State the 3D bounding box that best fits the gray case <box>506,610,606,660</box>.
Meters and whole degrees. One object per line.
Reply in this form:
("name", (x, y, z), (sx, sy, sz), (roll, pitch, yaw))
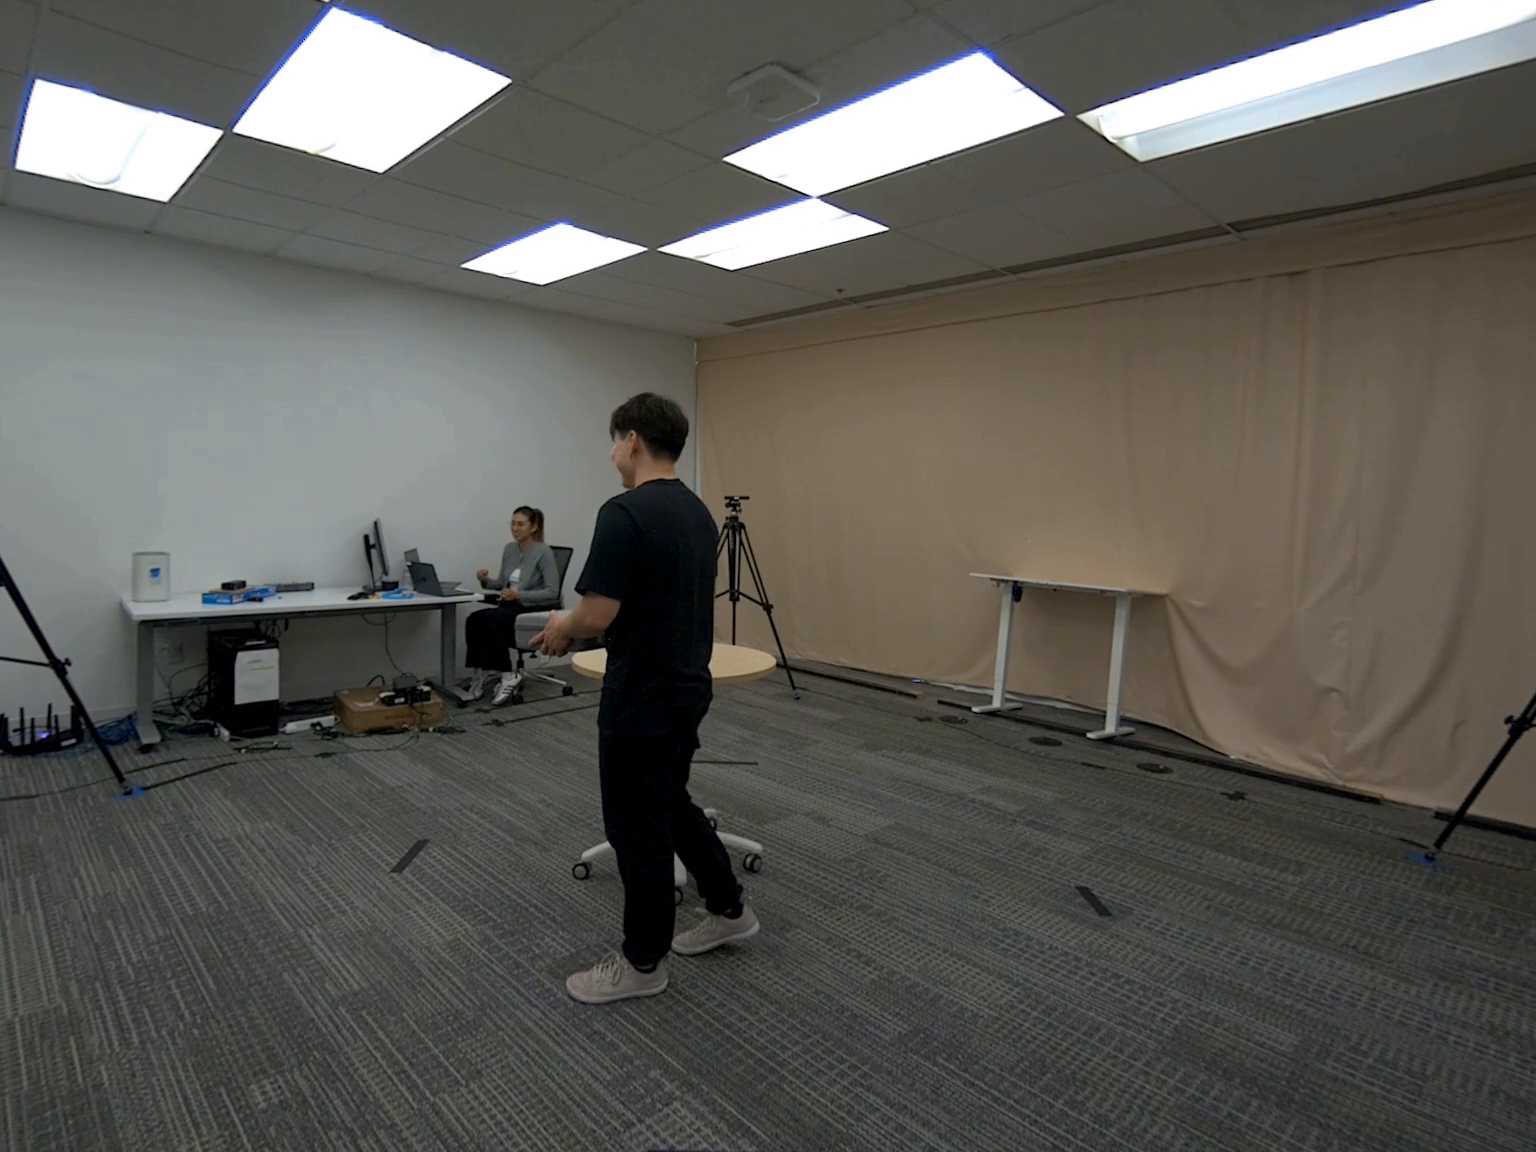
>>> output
("gray case", (-0.582, 0.167, 2.493), (0.265, 0.104, 0.252), (1, 2, 25))
